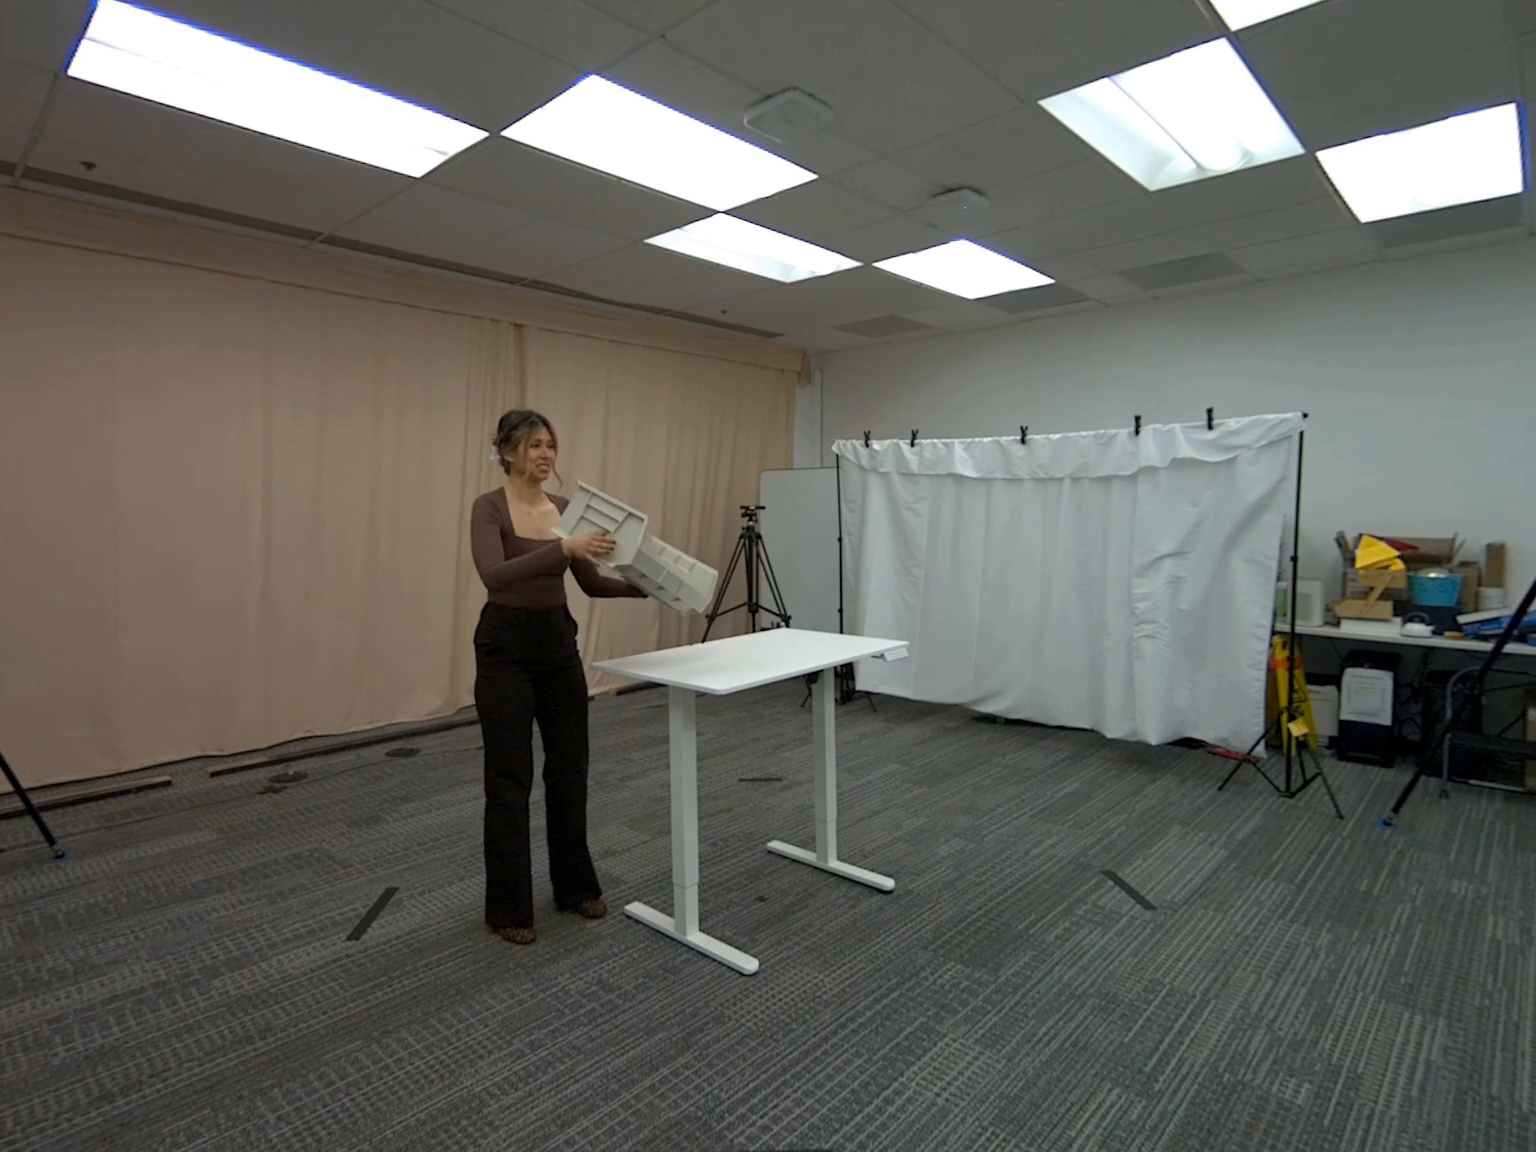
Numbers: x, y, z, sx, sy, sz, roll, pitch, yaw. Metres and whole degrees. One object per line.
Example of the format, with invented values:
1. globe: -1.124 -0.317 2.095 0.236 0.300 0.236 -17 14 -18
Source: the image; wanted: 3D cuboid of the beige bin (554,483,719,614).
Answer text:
1. beige bin: -0.405 -0.074 2.645 0.391 0.189 0.407 26 -8 37
